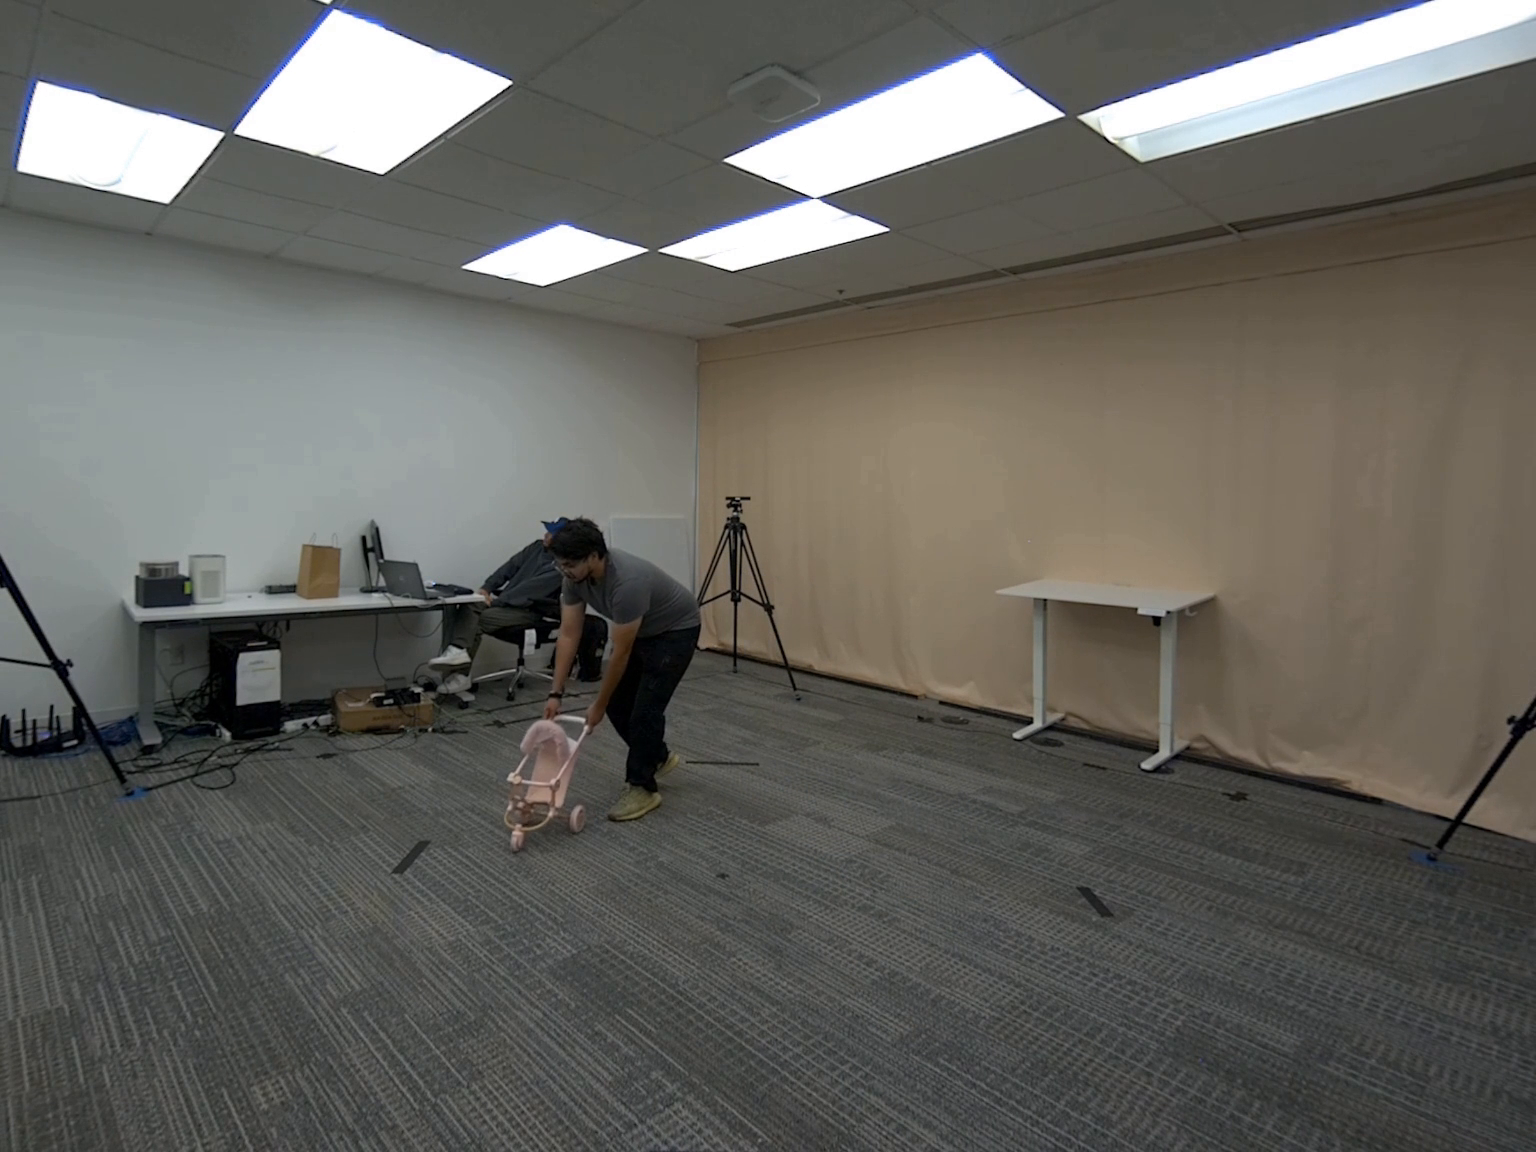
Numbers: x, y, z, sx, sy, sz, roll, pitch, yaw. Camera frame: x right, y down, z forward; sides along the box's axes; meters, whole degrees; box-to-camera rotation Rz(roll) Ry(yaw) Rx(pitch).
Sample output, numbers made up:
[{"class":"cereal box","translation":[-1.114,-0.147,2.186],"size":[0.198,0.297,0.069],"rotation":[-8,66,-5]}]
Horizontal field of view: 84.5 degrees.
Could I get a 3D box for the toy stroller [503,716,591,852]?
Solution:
[{"class":"toy stroller","translation":[-0.927,0.837,3.444],"size":[0.286,0.539,0.333],"rotation":[3,-12,20]}]
